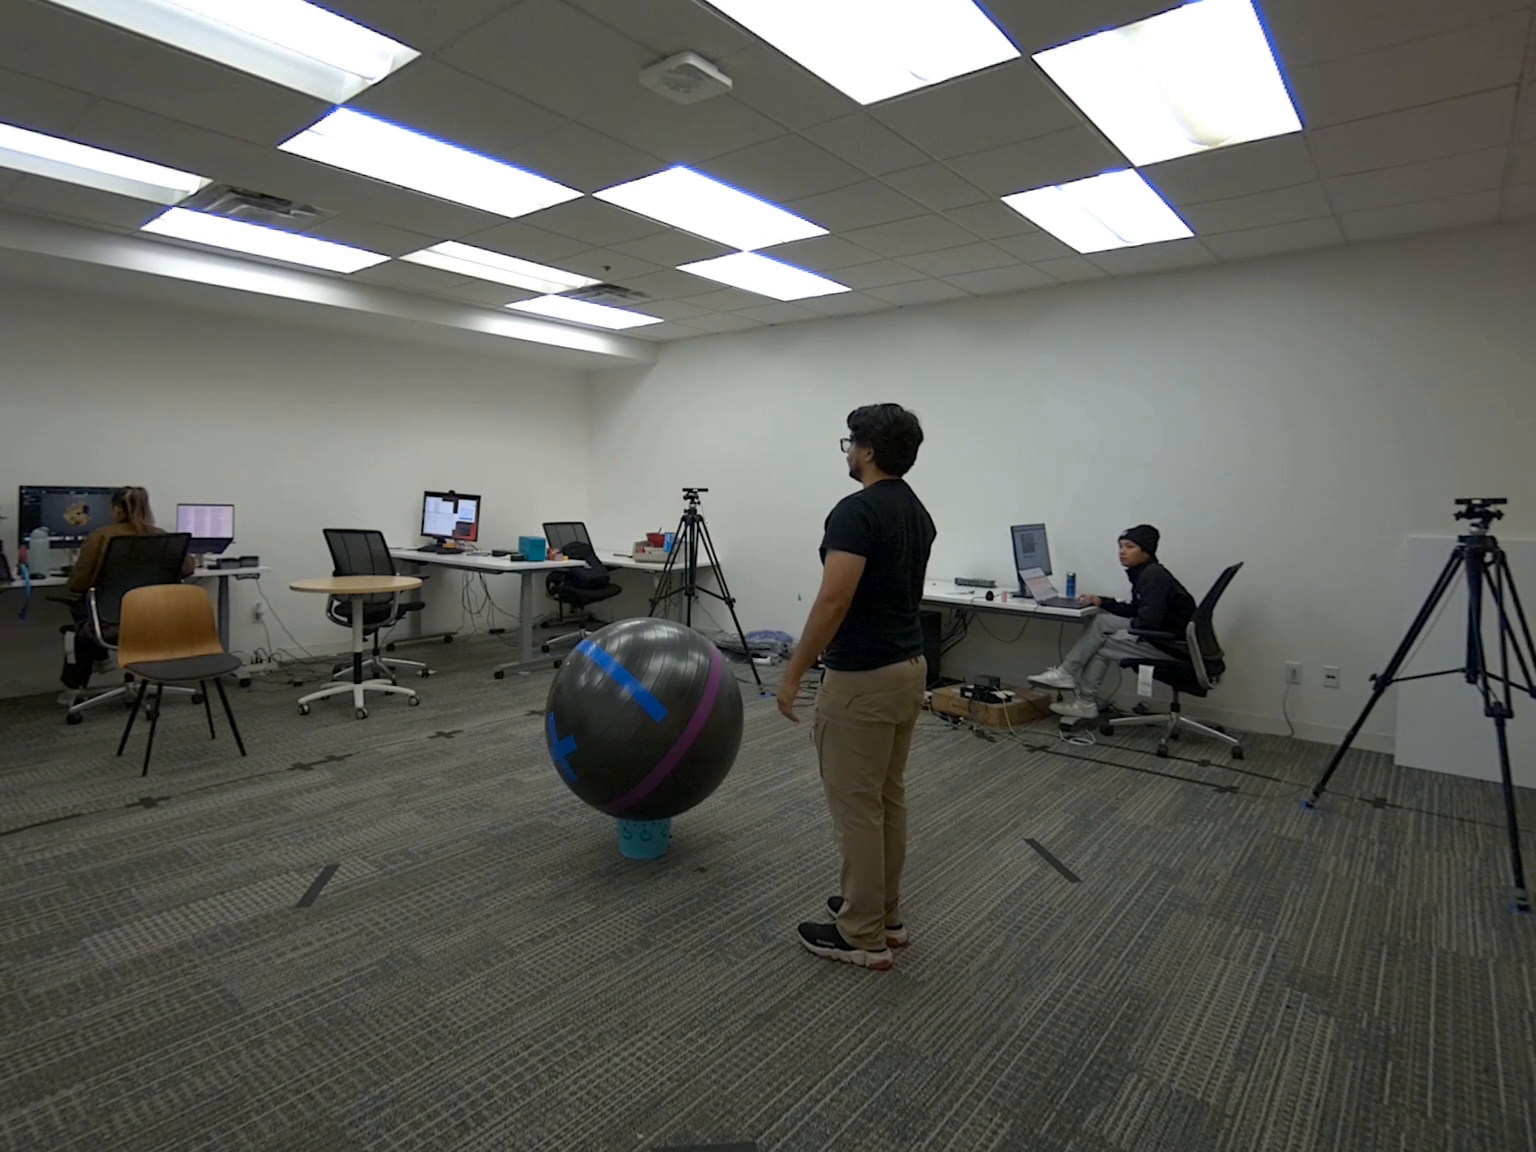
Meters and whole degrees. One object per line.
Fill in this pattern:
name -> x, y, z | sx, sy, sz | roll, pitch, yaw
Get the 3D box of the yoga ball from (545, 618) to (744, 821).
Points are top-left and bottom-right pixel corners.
yoga ball -> -0.482, 0.540, 3.259 | 0.757, 0.756, 0.761 | 1, 4, -2
